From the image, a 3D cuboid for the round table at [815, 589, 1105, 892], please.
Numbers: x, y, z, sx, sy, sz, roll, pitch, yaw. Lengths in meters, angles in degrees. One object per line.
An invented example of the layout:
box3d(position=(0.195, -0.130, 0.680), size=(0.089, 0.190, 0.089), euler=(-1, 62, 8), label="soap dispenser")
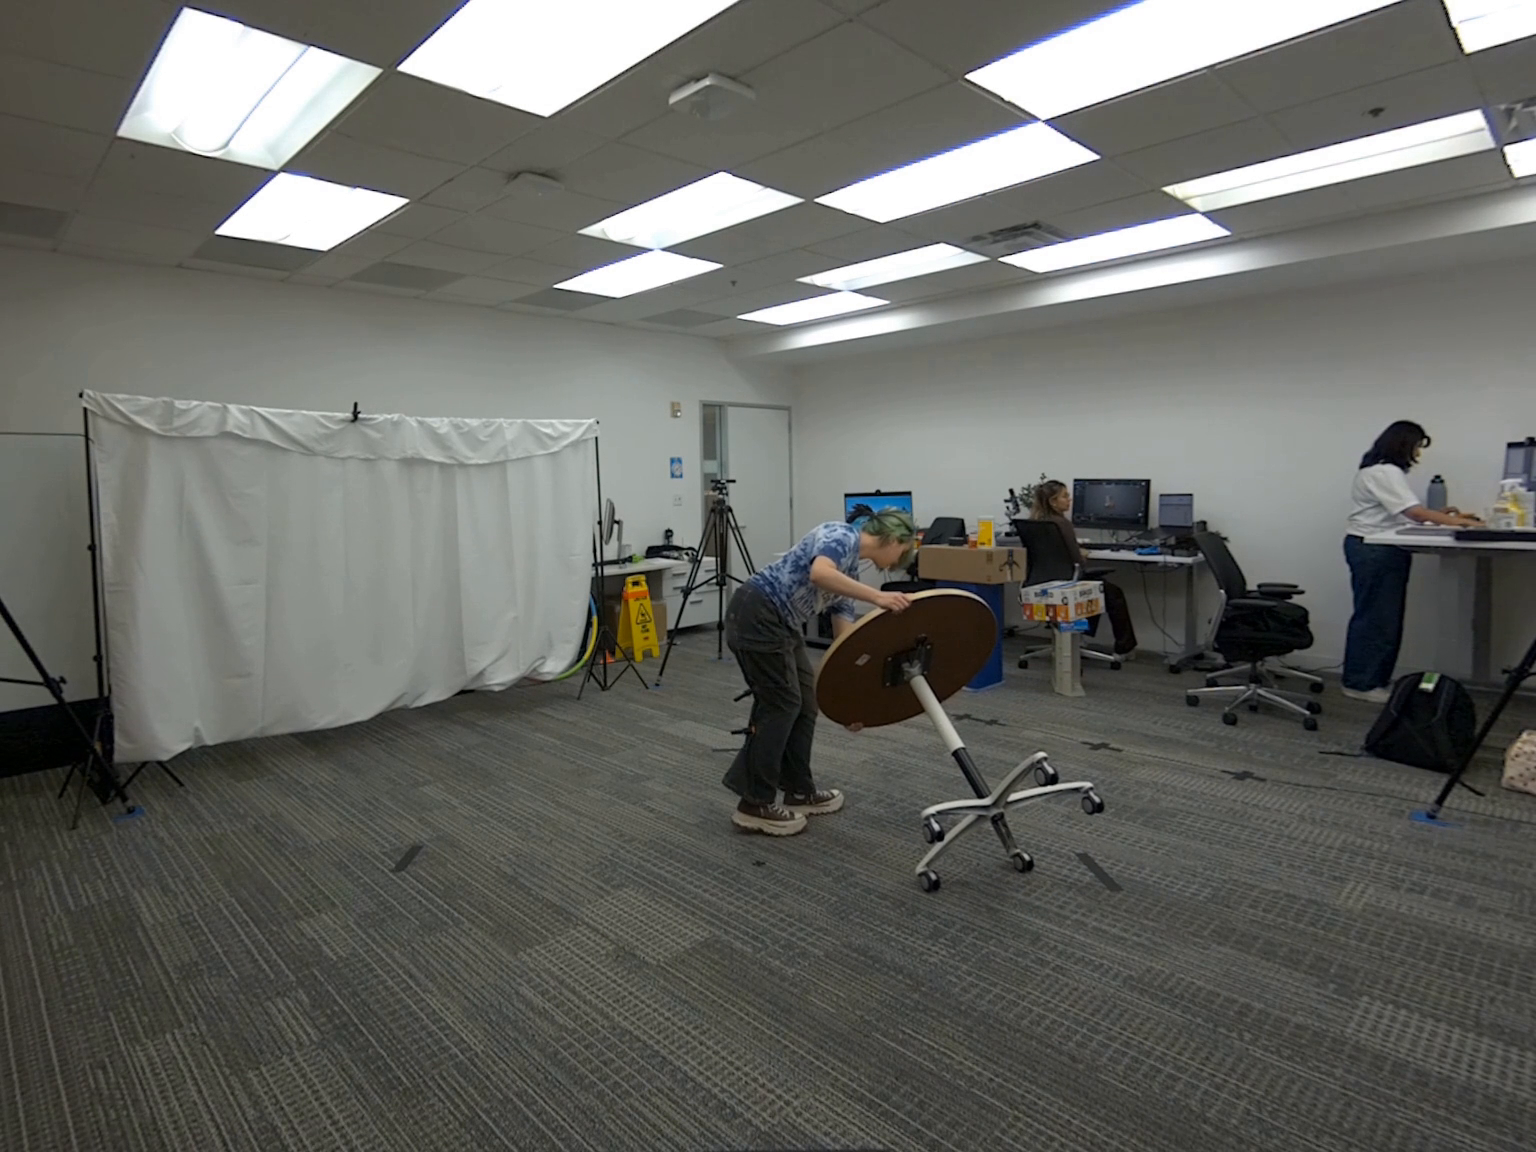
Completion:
box3d(position=(0.670, 0.596, 3.058), size=(0.750, 0.750, 0.823), euler=(-3, 42, -22), label="round table")
